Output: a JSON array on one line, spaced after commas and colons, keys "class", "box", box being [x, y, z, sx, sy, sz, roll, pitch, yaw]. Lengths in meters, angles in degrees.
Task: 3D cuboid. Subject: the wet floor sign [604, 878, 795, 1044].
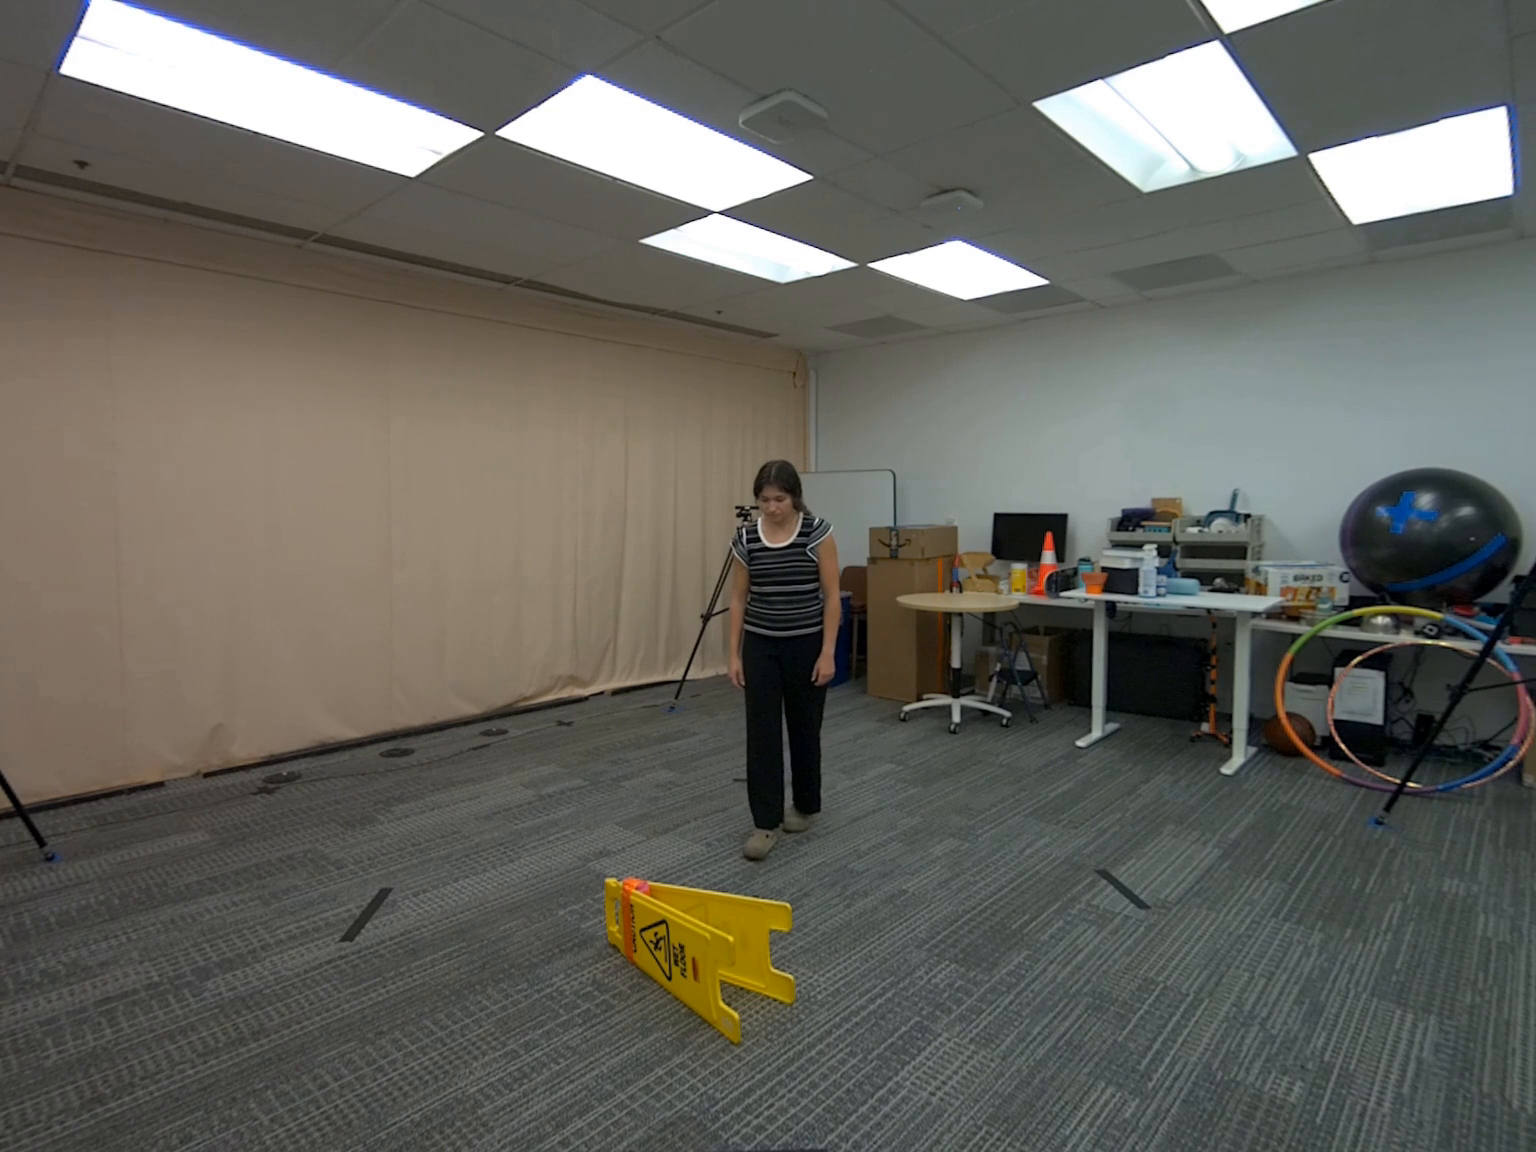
[{"class": "wet floor sign", "box": [-0.262, 1.066, 2.469, 0.667, 0.282, 0.281, 0, 4, 40]}]
